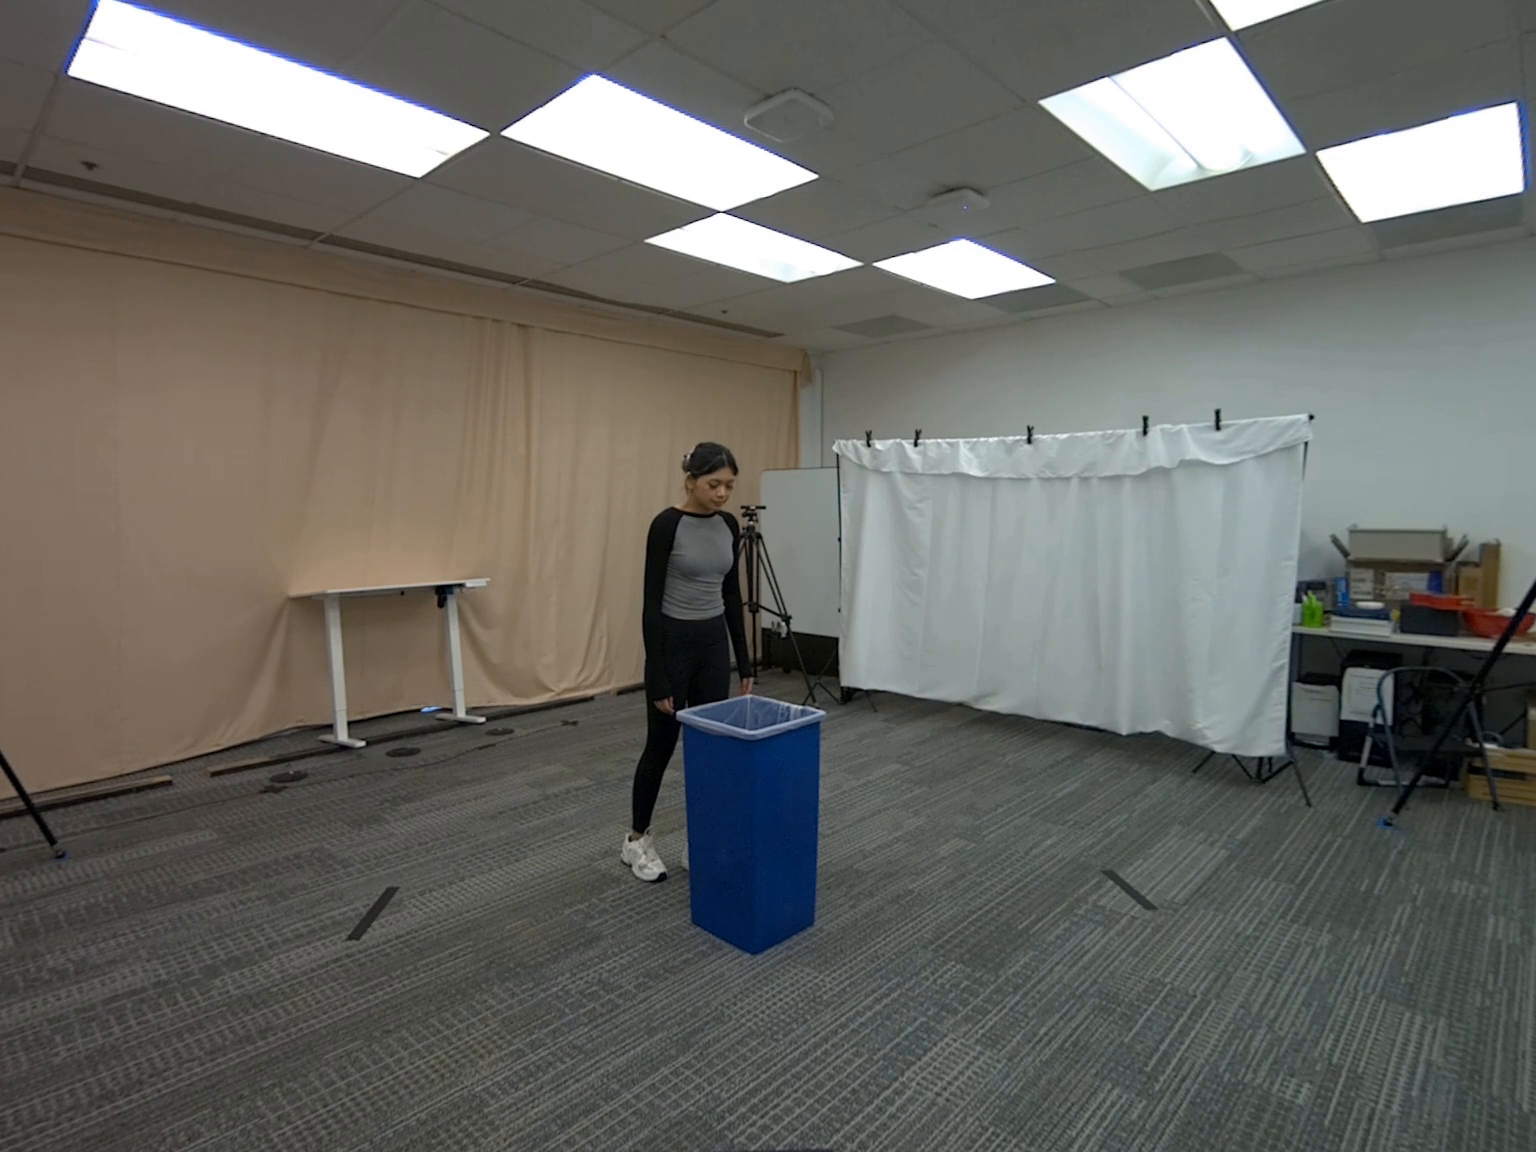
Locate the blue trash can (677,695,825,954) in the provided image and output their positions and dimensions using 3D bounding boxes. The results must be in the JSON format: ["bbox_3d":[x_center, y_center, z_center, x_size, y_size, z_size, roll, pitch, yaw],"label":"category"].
[{"bbox_3d":[-0.049,0.804,2.784,0.391,0.712,0.362,3,4,44],"label":"blue trash can"}]
